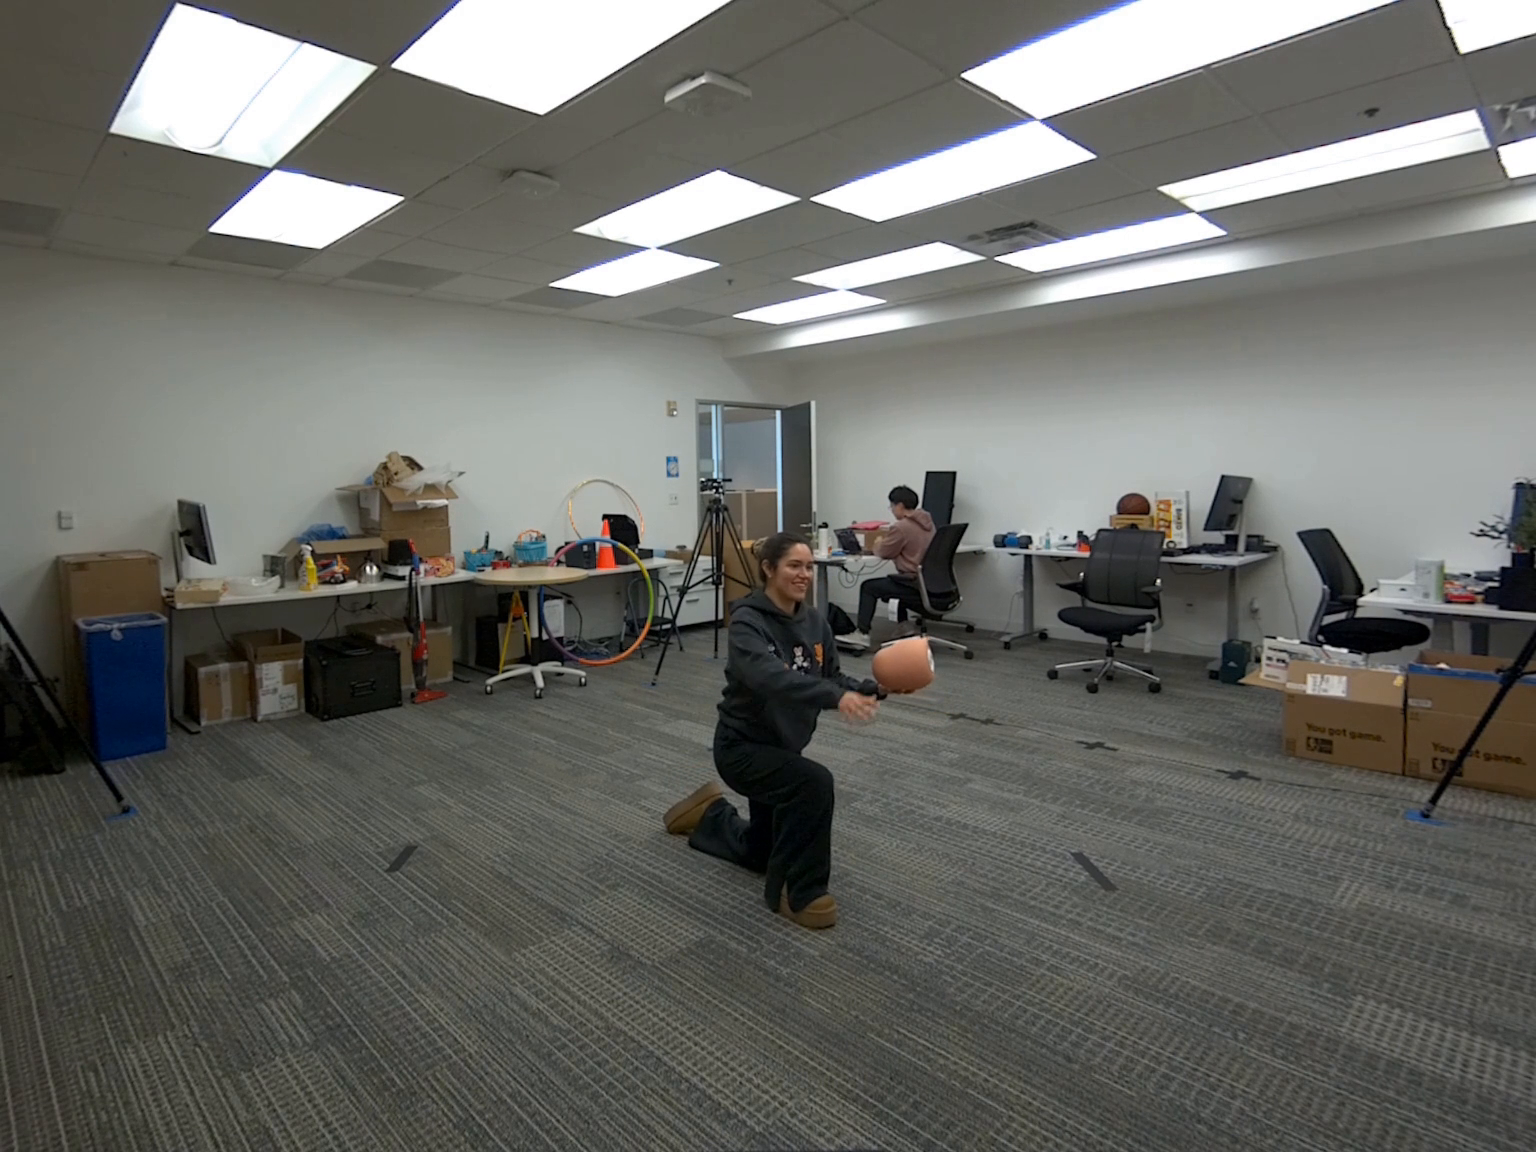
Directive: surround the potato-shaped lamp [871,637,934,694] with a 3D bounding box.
[{"bbox_3d":[0.443,0.296,2.835,0.201,0.160,0.173,-9,26,21],"label":"potato-shaped lamp"}]
